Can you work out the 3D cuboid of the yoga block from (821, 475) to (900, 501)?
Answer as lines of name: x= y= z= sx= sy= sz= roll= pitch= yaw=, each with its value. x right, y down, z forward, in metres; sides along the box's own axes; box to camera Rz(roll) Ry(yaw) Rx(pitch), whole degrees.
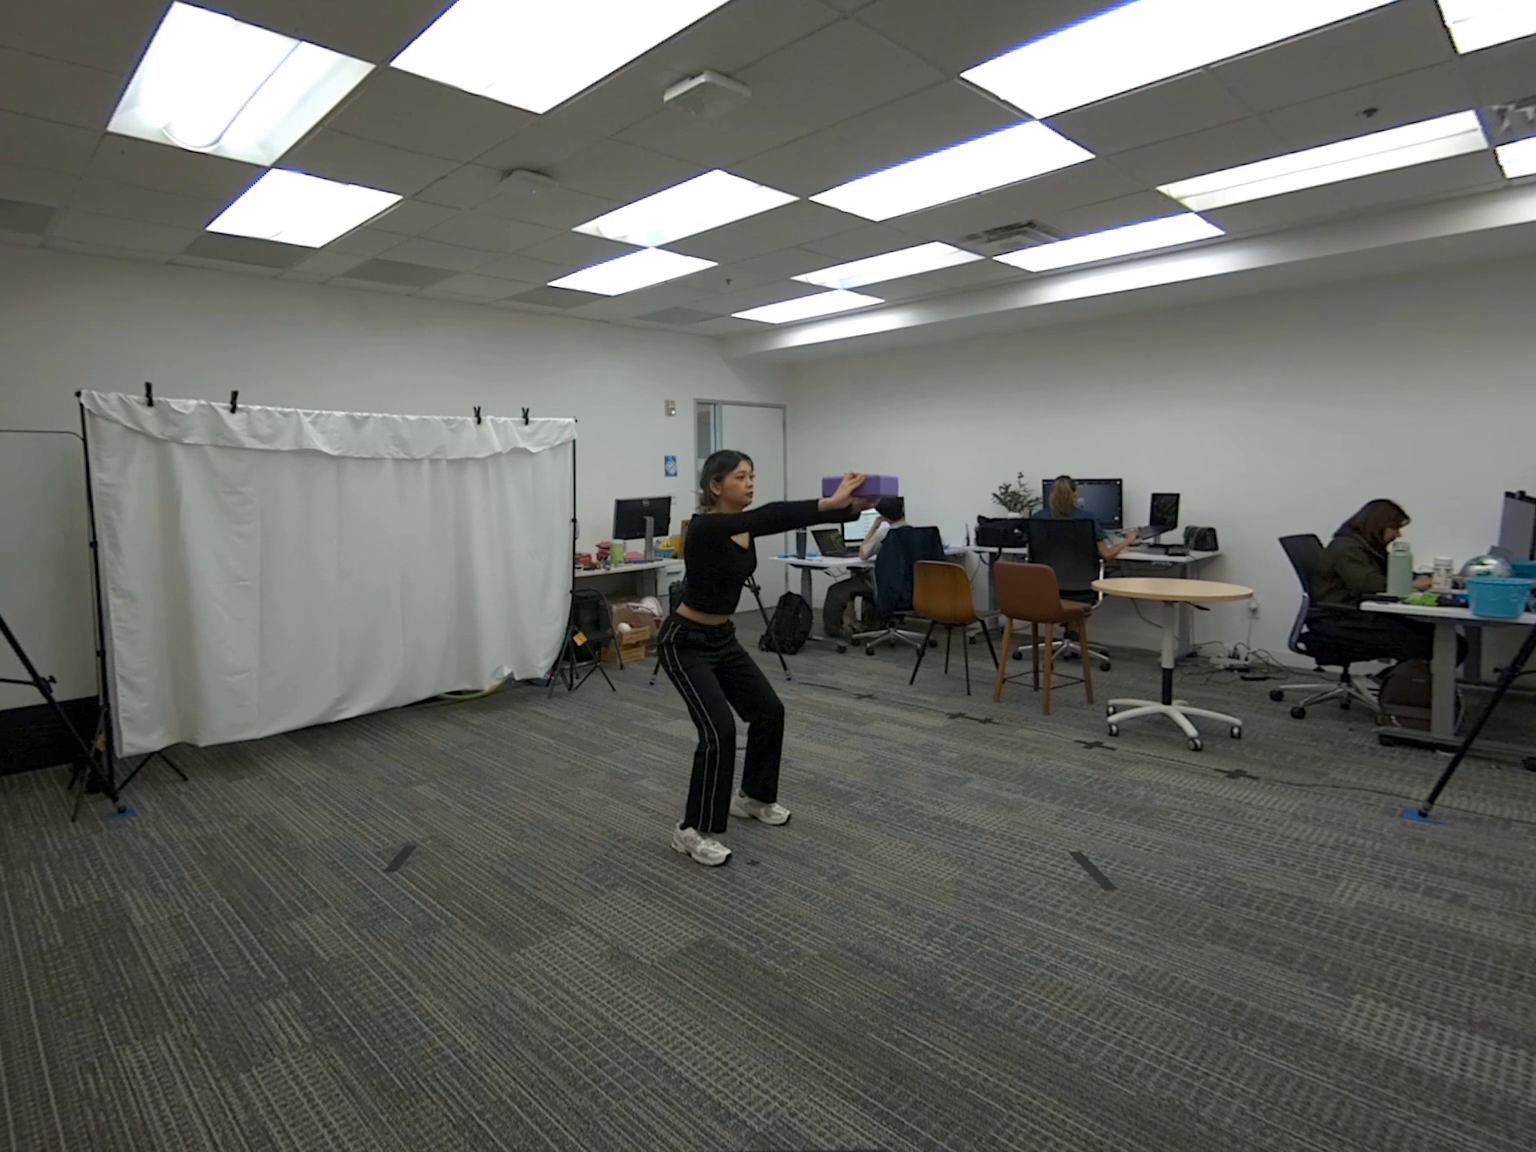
yoga block: x=0.327 y=-0.311 z=2.974 sx=0.236 sy=0.076 sz=0.145 roll=2 pitch=4 yaw=34
